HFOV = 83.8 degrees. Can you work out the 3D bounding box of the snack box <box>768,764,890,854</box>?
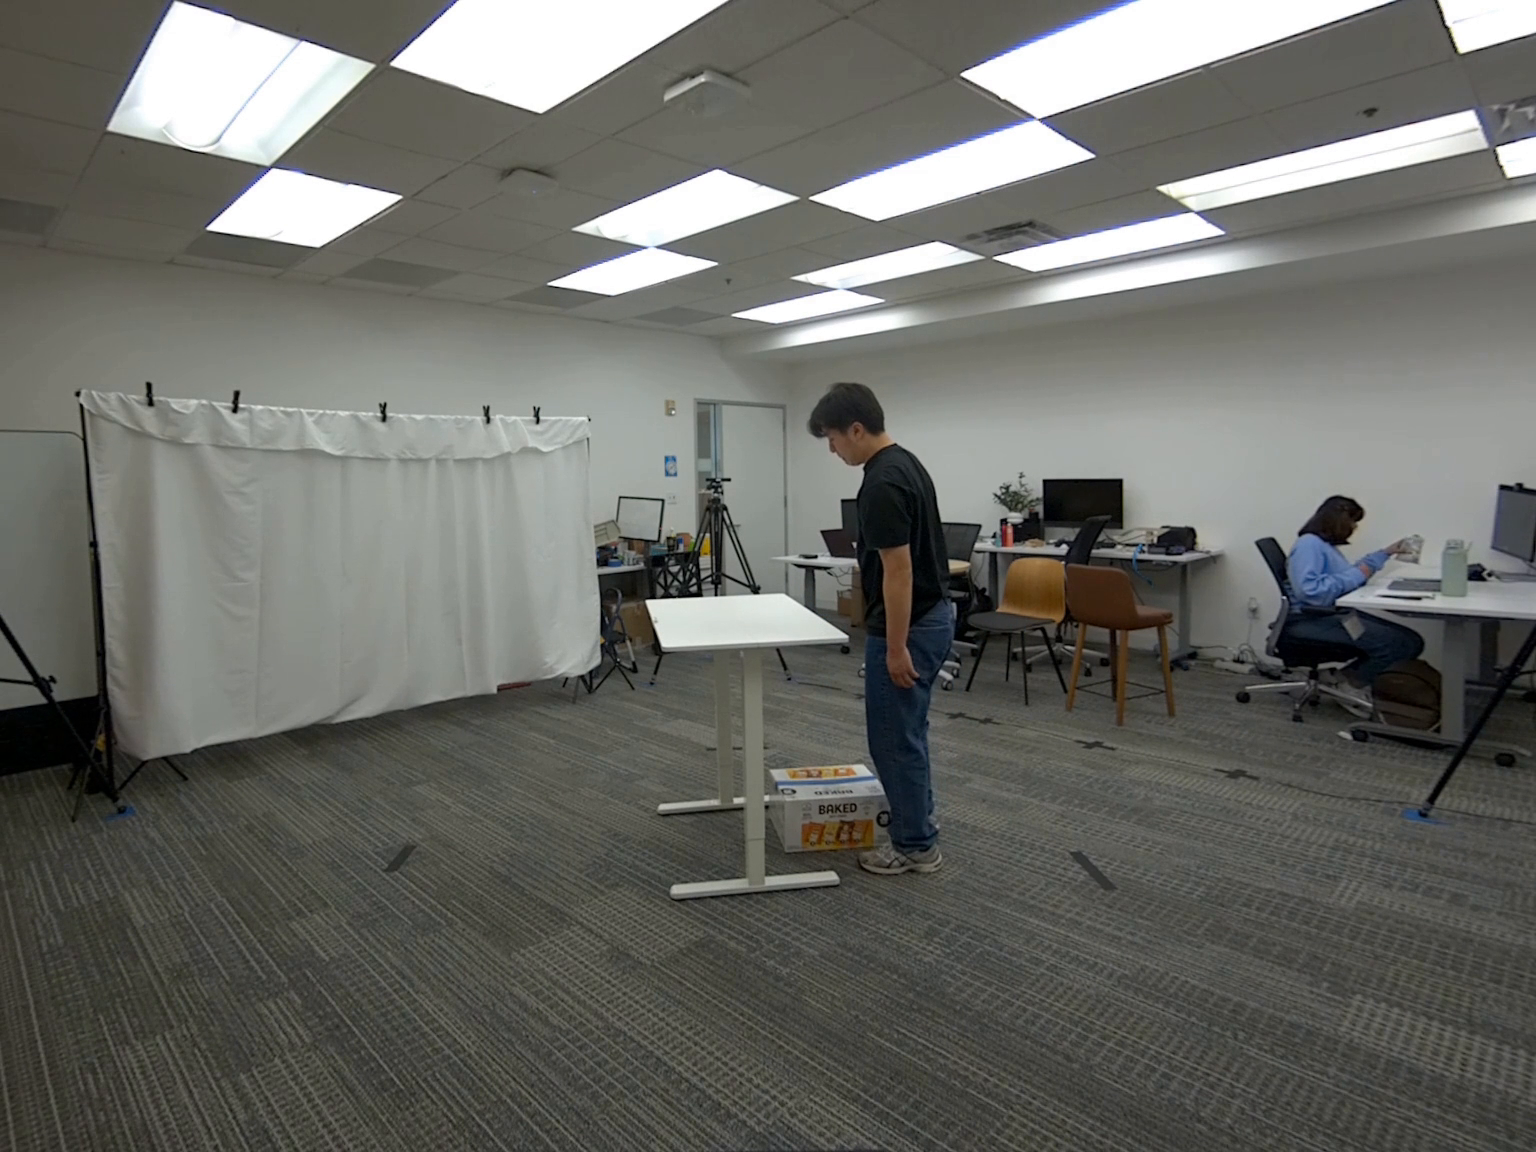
[{"bbox_3d":[0.230,0.908,3.359,0.402,0.205,0.344,-2,6,-8],"label":"snack box"}]
